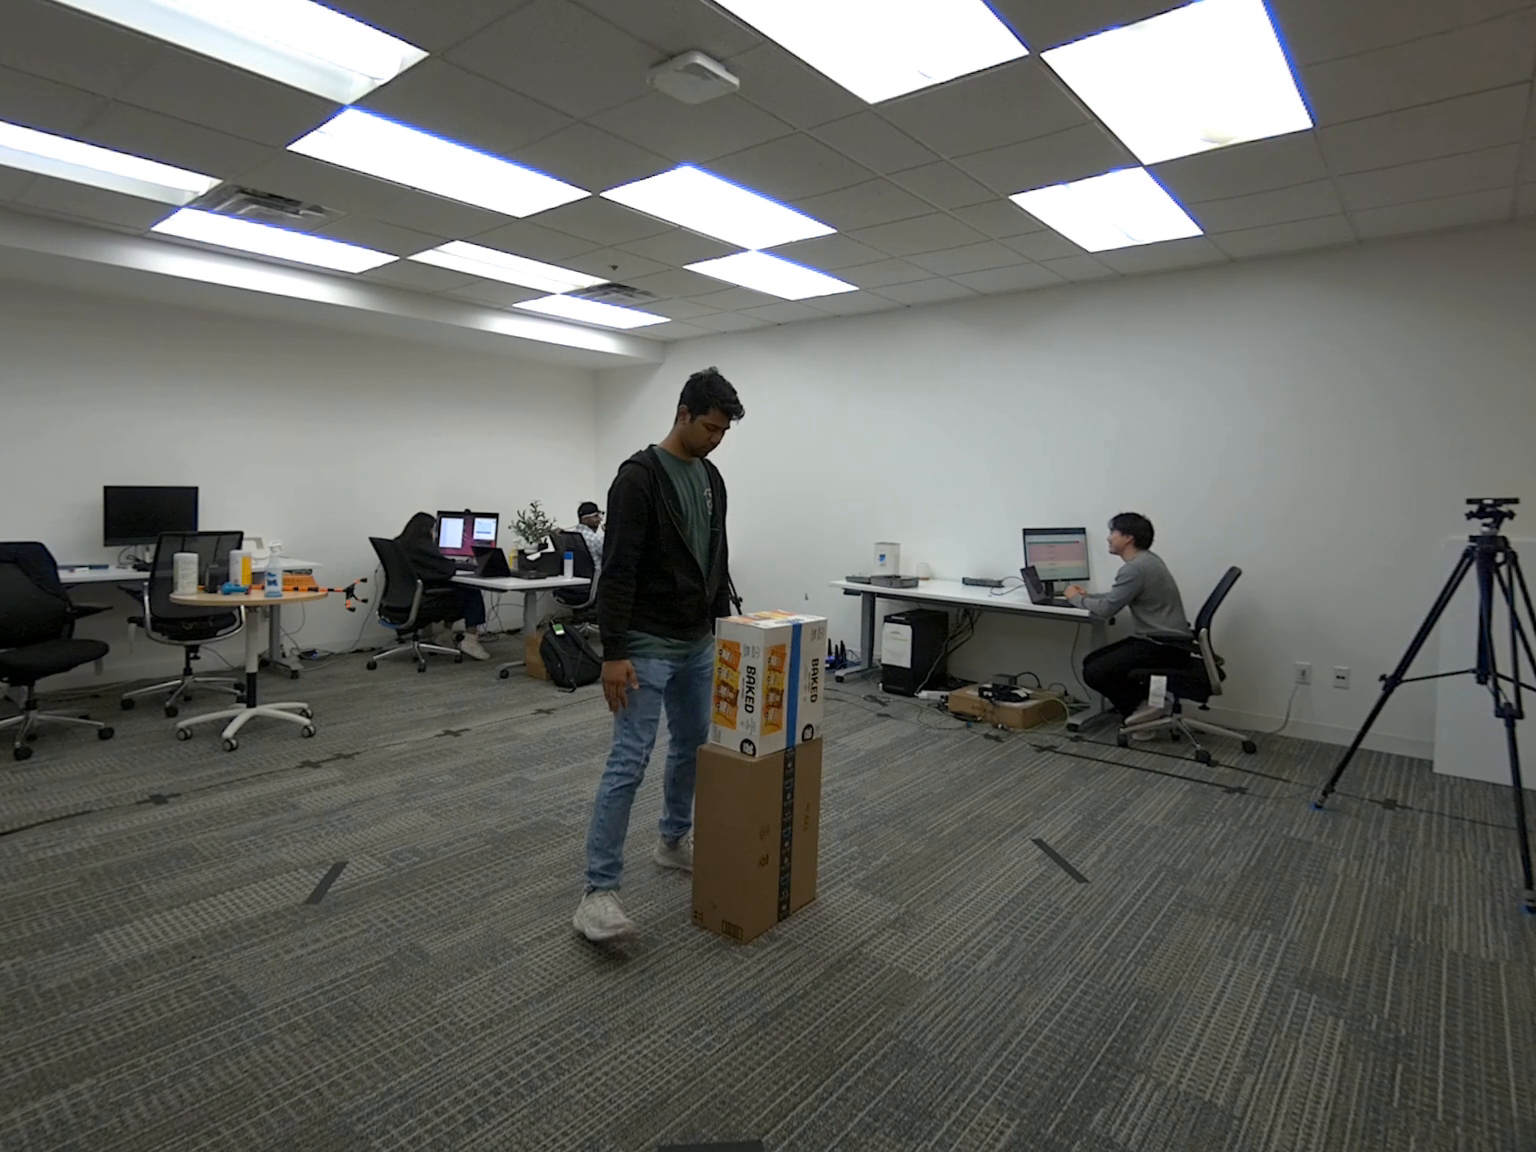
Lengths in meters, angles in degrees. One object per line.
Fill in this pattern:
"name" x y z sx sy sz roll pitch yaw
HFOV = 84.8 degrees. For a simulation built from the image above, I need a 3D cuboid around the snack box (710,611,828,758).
"snack box" -0.007 0.337 2.778 0.213 0.403 0.330 7 6 40
